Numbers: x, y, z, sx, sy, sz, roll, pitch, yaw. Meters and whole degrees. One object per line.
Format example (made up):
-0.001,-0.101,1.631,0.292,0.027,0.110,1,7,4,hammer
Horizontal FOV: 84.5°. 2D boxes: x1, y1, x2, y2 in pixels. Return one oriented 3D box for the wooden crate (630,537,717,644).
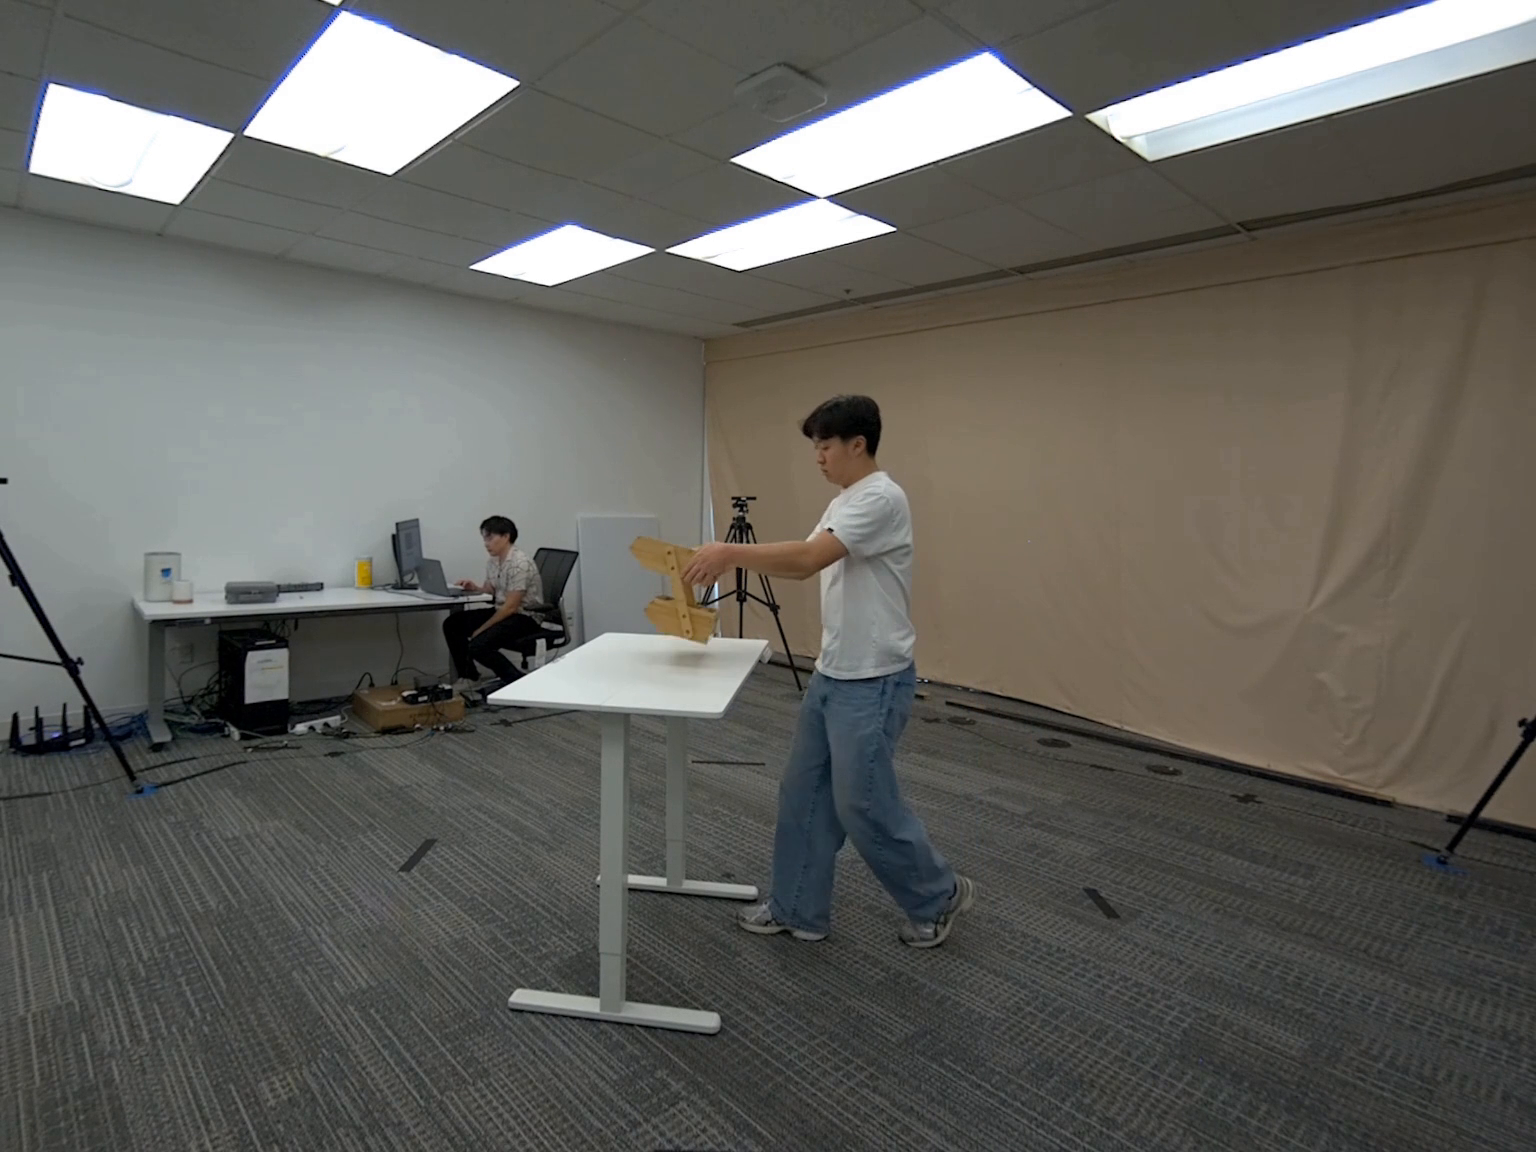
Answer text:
-0.290,0.042,2.640,0.302,0.273,0.324,15,-1,1,wooden crate
